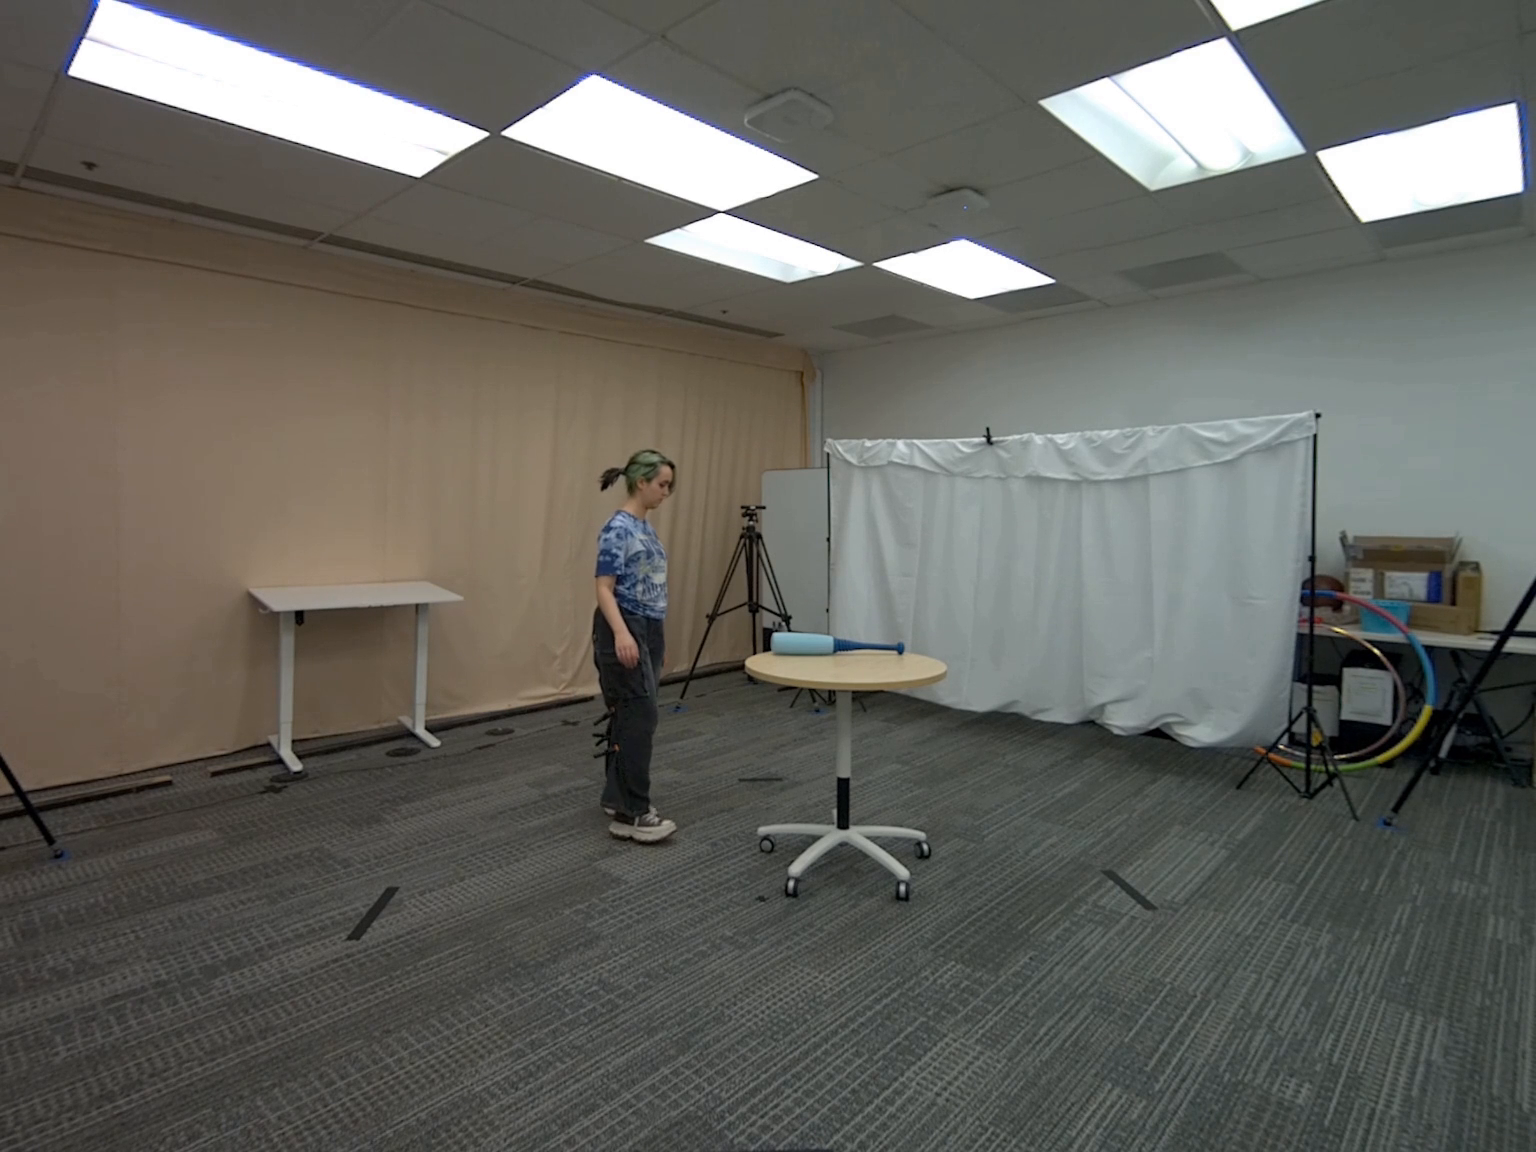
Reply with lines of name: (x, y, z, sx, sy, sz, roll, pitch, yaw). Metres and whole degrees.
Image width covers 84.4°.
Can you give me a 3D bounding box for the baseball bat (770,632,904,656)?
baseball bat: (0.290, 0.287, 3.439, 0.541, 0.089, 0.089, 2, 4, -2)
